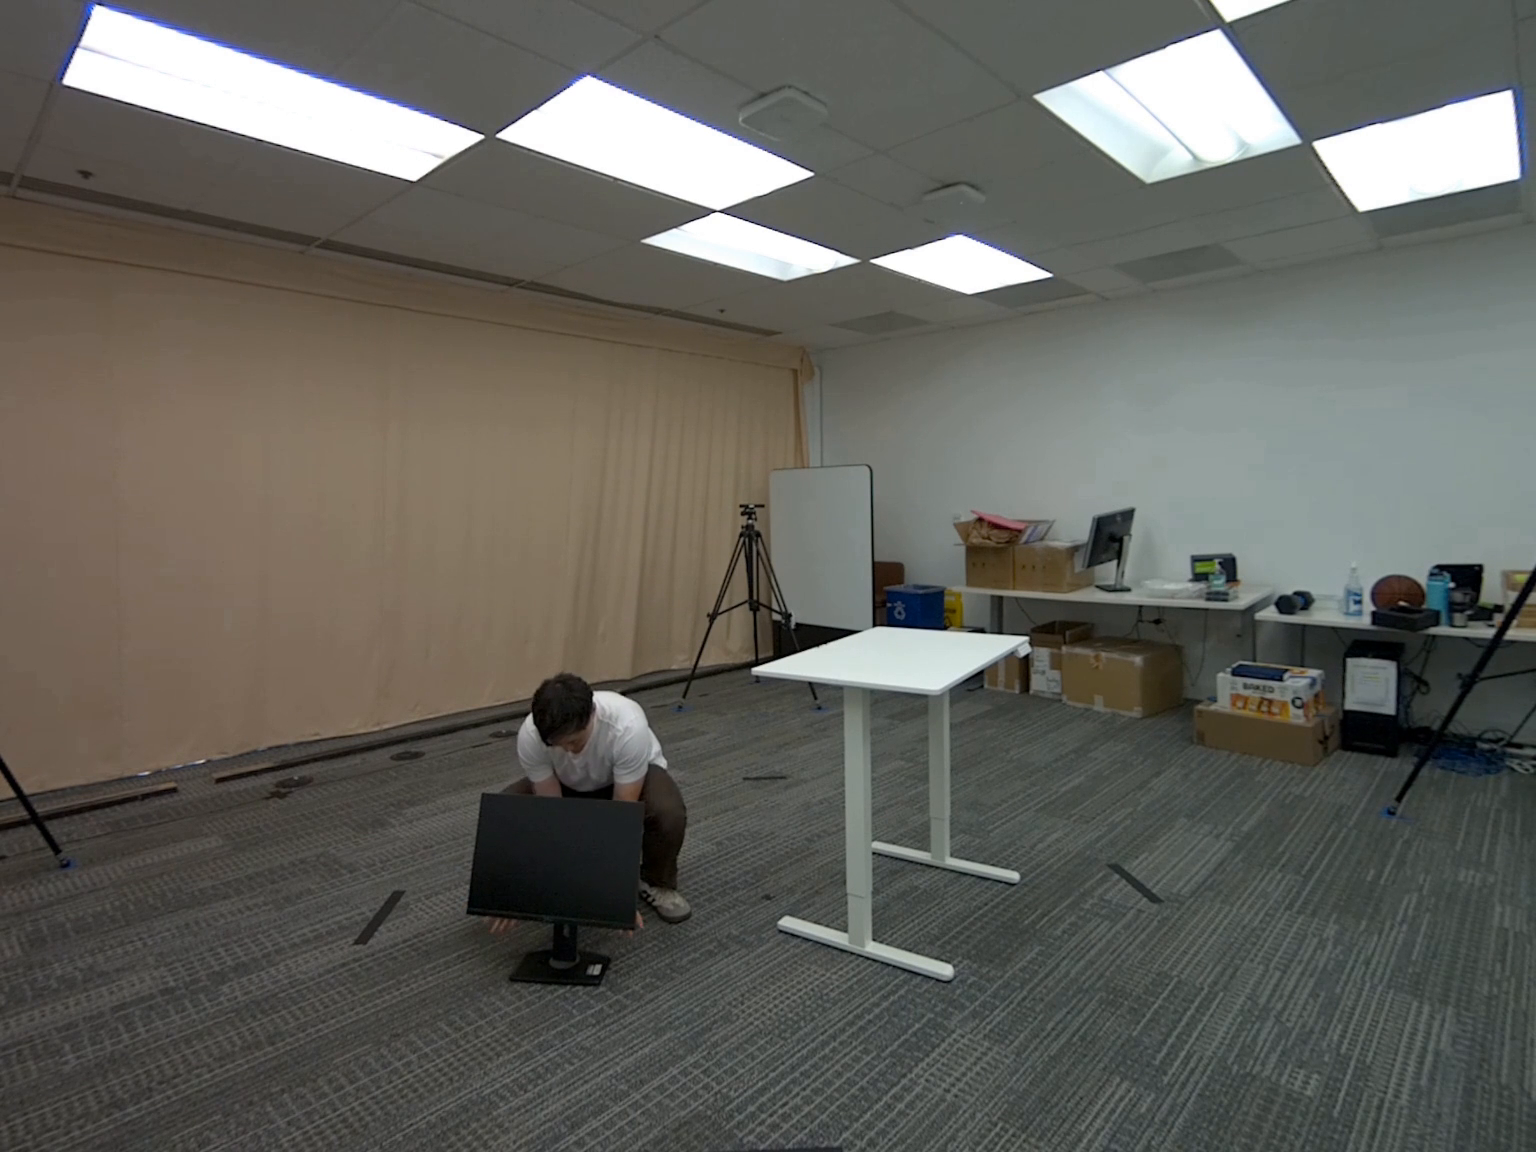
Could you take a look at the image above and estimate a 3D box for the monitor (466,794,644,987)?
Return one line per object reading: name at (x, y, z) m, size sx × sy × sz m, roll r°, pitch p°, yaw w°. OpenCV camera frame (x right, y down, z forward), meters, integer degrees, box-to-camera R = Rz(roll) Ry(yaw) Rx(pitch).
monitor at (-0.633, 0.935, 2.548) m, size 0.546 × 0.522 × 0.185 m, roll -1°, pitch 0°, yaw 11°
